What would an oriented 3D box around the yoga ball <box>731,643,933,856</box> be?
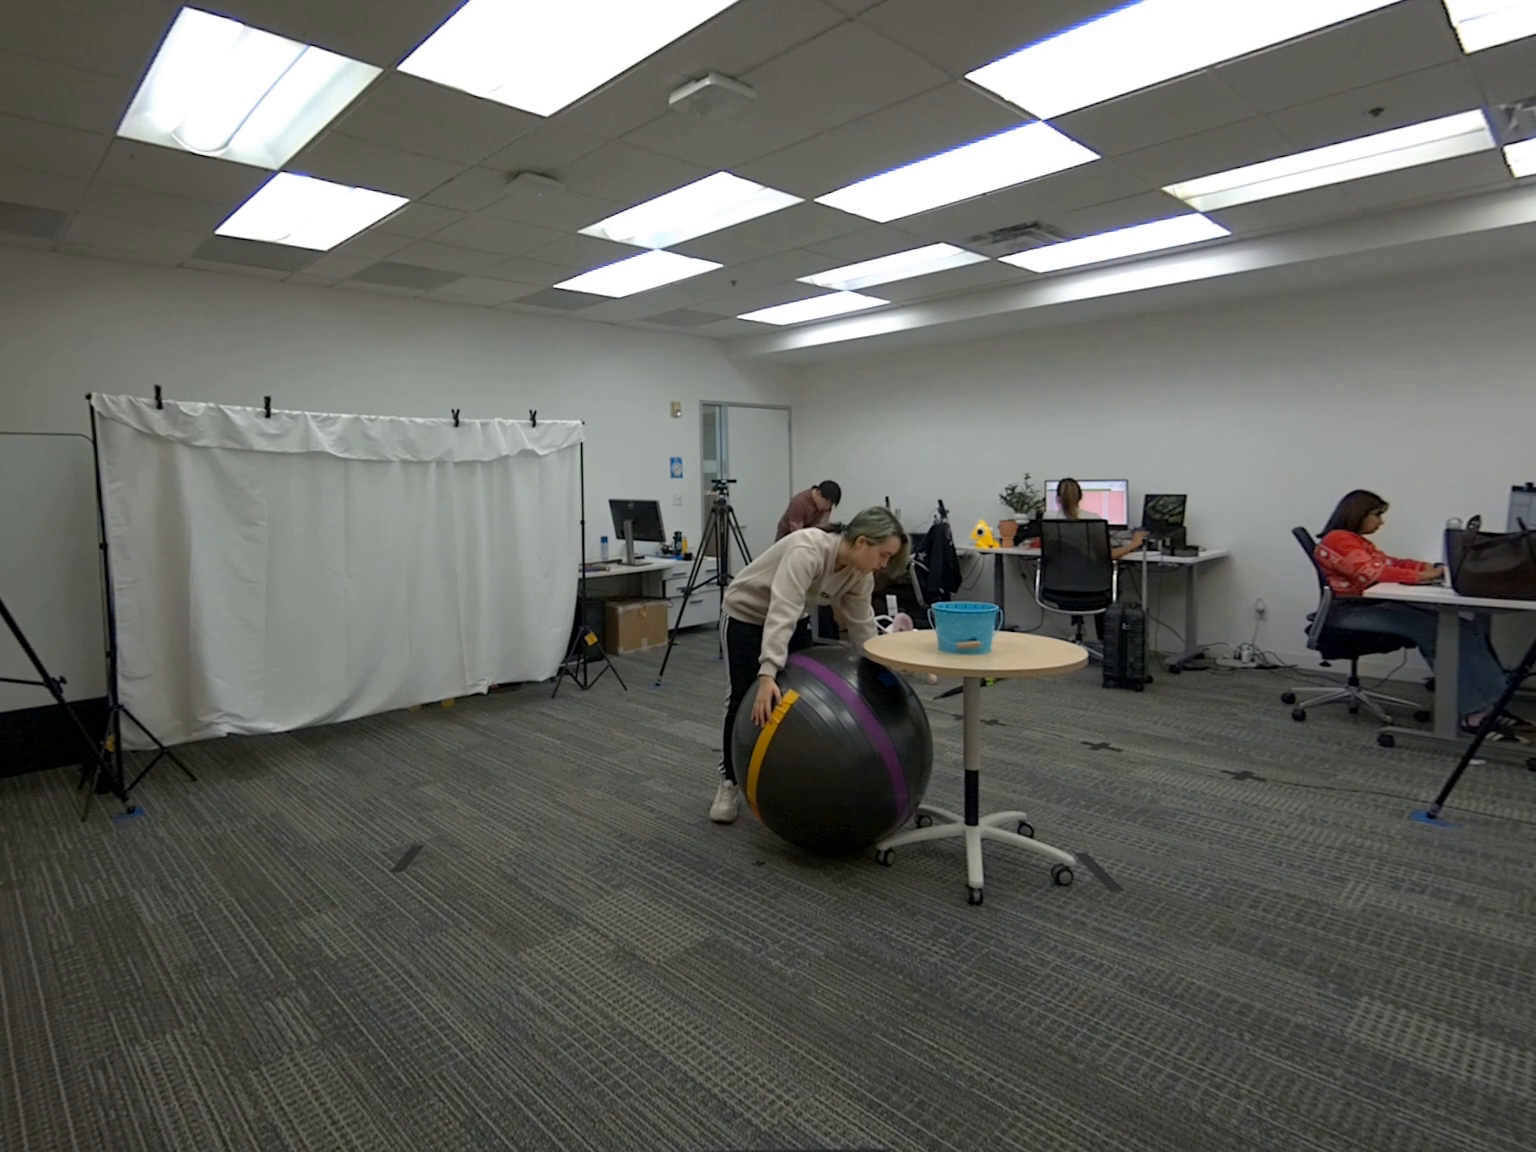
[{"bbox_3d":[0.237,0.649,3.232,0.757,0.755,0.762,-1,5,-2],"label":"yoga ball"}]
